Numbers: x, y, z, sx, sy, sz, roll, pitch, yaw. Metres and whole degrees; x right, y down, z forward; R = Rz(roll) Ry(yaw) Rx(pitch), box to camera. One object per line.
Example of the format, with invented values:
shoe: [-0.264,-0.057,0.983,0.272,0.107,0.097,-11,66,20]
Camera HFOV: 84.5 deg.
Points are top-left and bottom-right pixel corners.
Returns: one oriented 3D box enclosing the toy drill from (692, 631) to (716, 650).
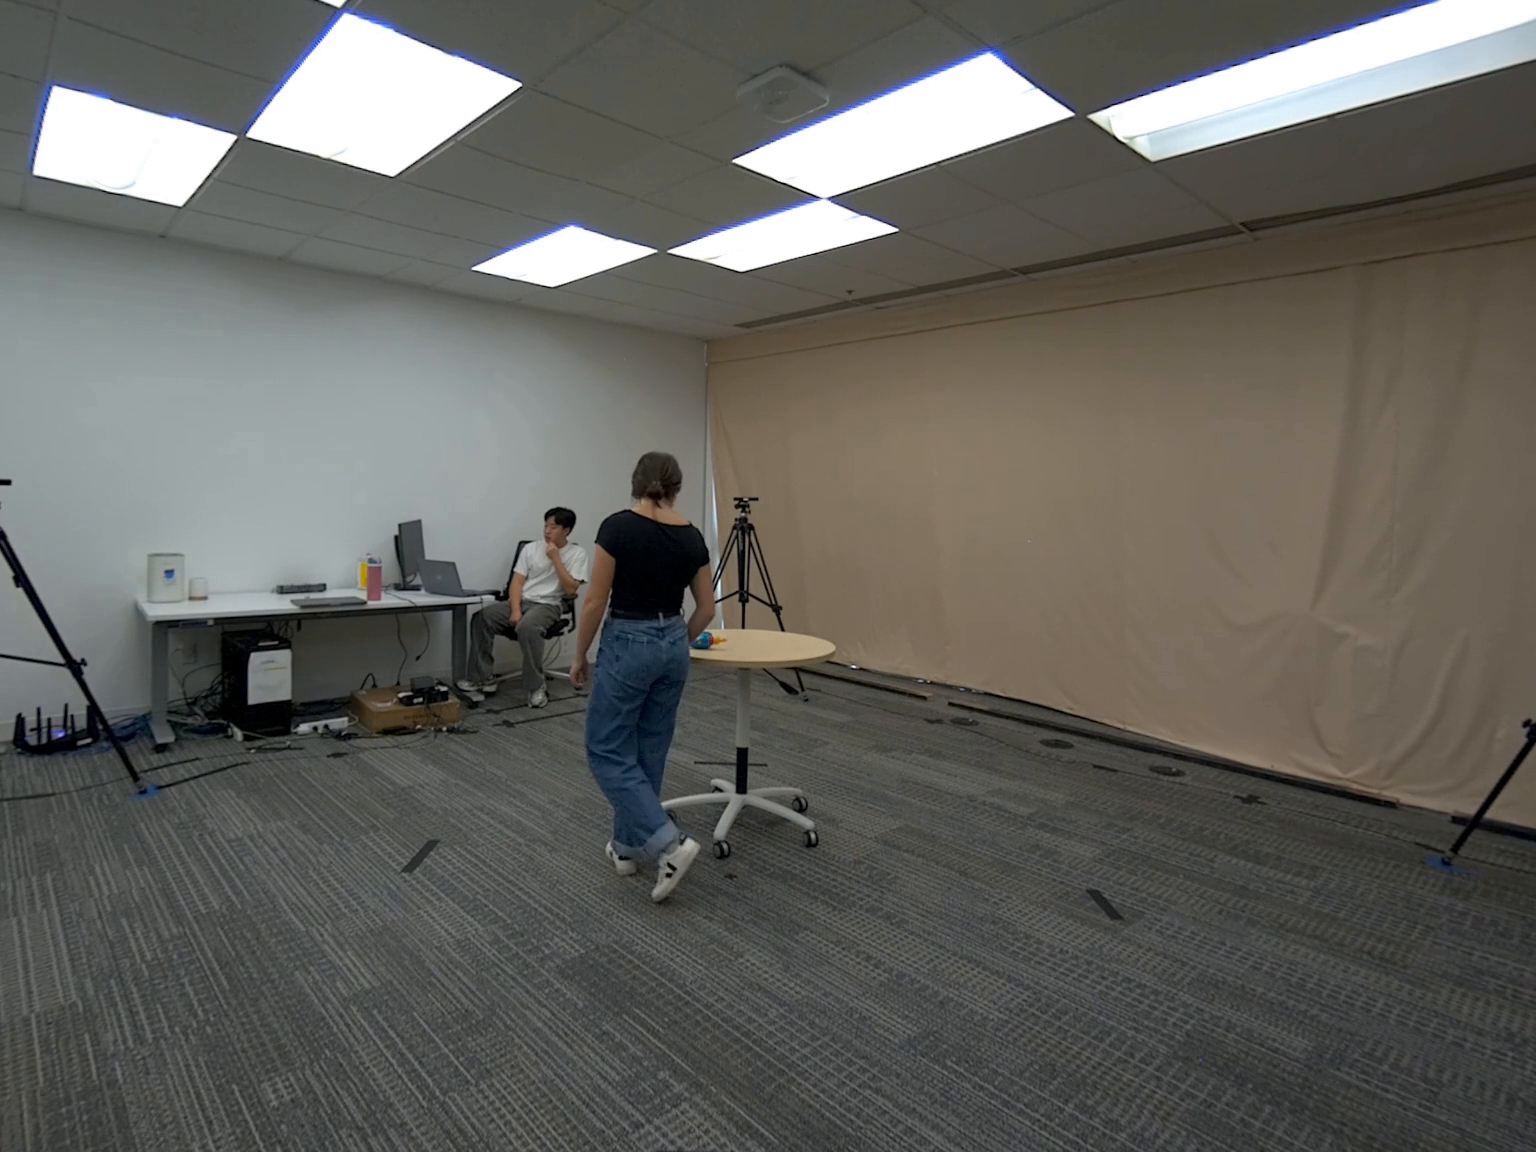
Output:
toy drill: [-0.246,0.265,3.442,0.171,0.061,0.145,-6,2,11]
